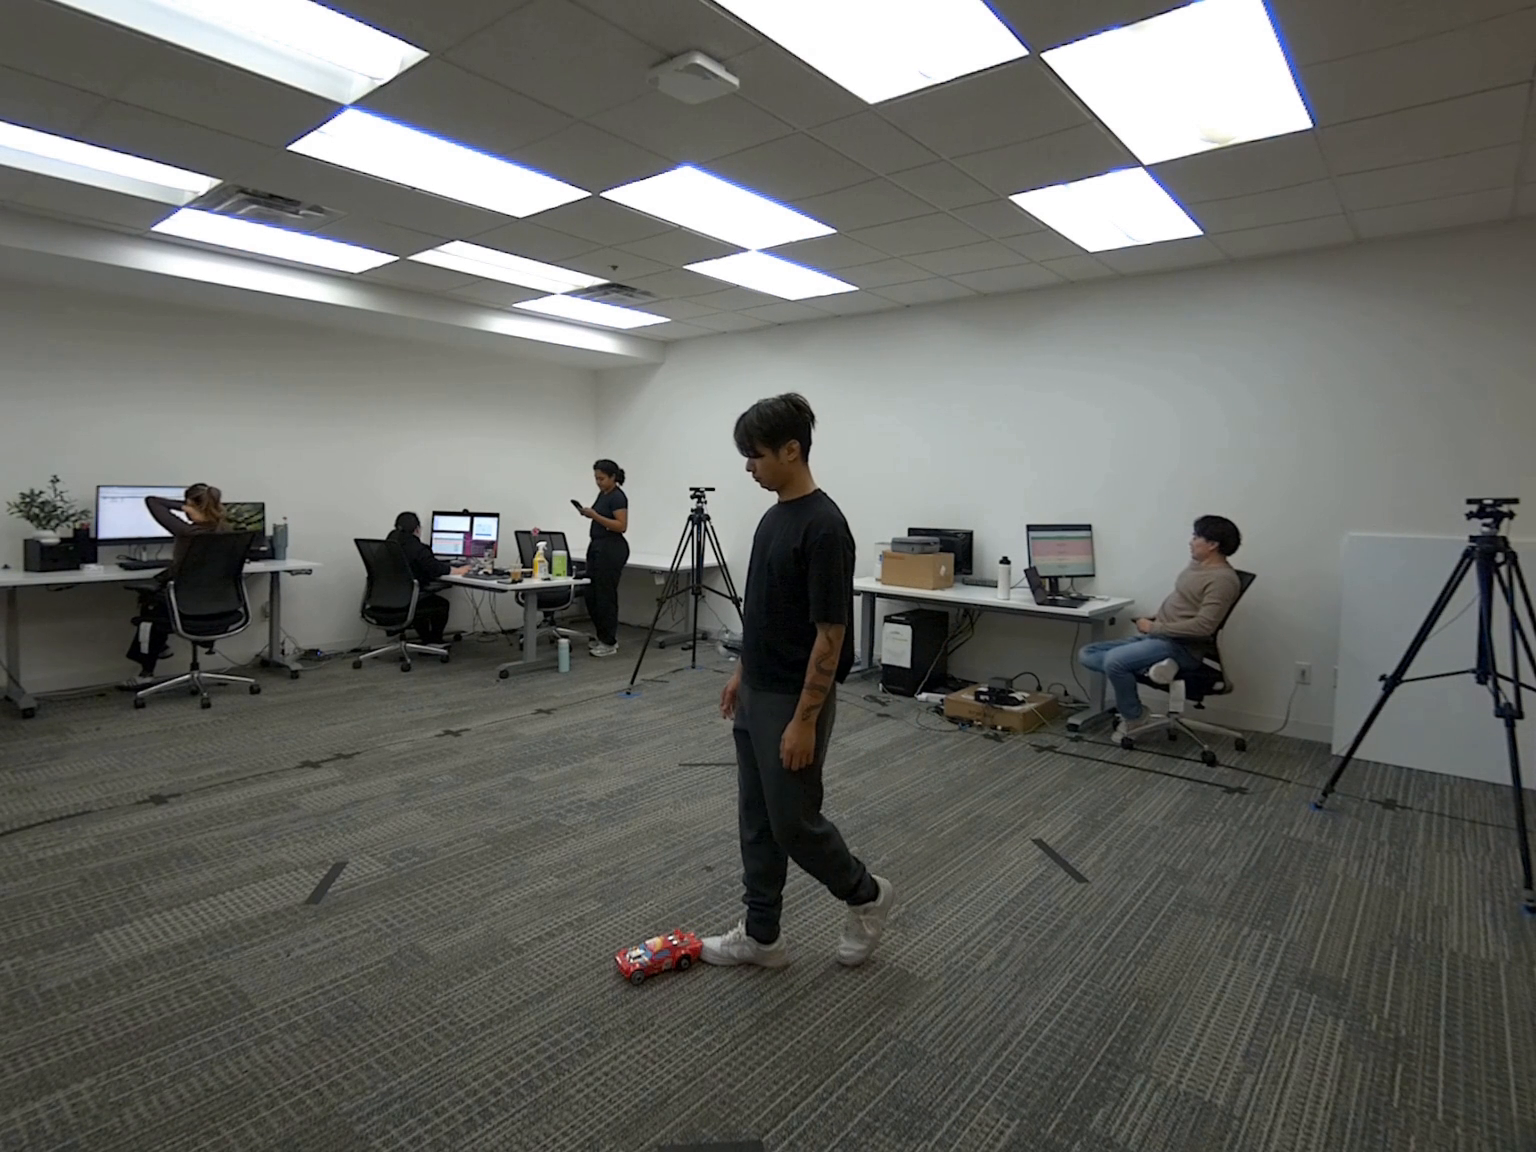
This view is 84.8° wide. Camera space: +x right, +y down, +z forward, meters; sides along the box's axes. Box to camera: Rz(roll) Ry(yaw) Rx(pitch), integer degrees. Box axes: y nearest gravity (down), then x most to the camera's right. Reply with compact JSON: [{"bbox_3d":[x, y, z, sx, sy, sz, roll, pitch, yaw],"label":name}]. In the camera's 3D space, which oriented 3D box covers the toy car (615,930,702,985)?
[{"bbox_3d":[-0.317,1.101,2.460,0.249,0.082,0.134,-15,13,-29],"label":"toy car"}]
